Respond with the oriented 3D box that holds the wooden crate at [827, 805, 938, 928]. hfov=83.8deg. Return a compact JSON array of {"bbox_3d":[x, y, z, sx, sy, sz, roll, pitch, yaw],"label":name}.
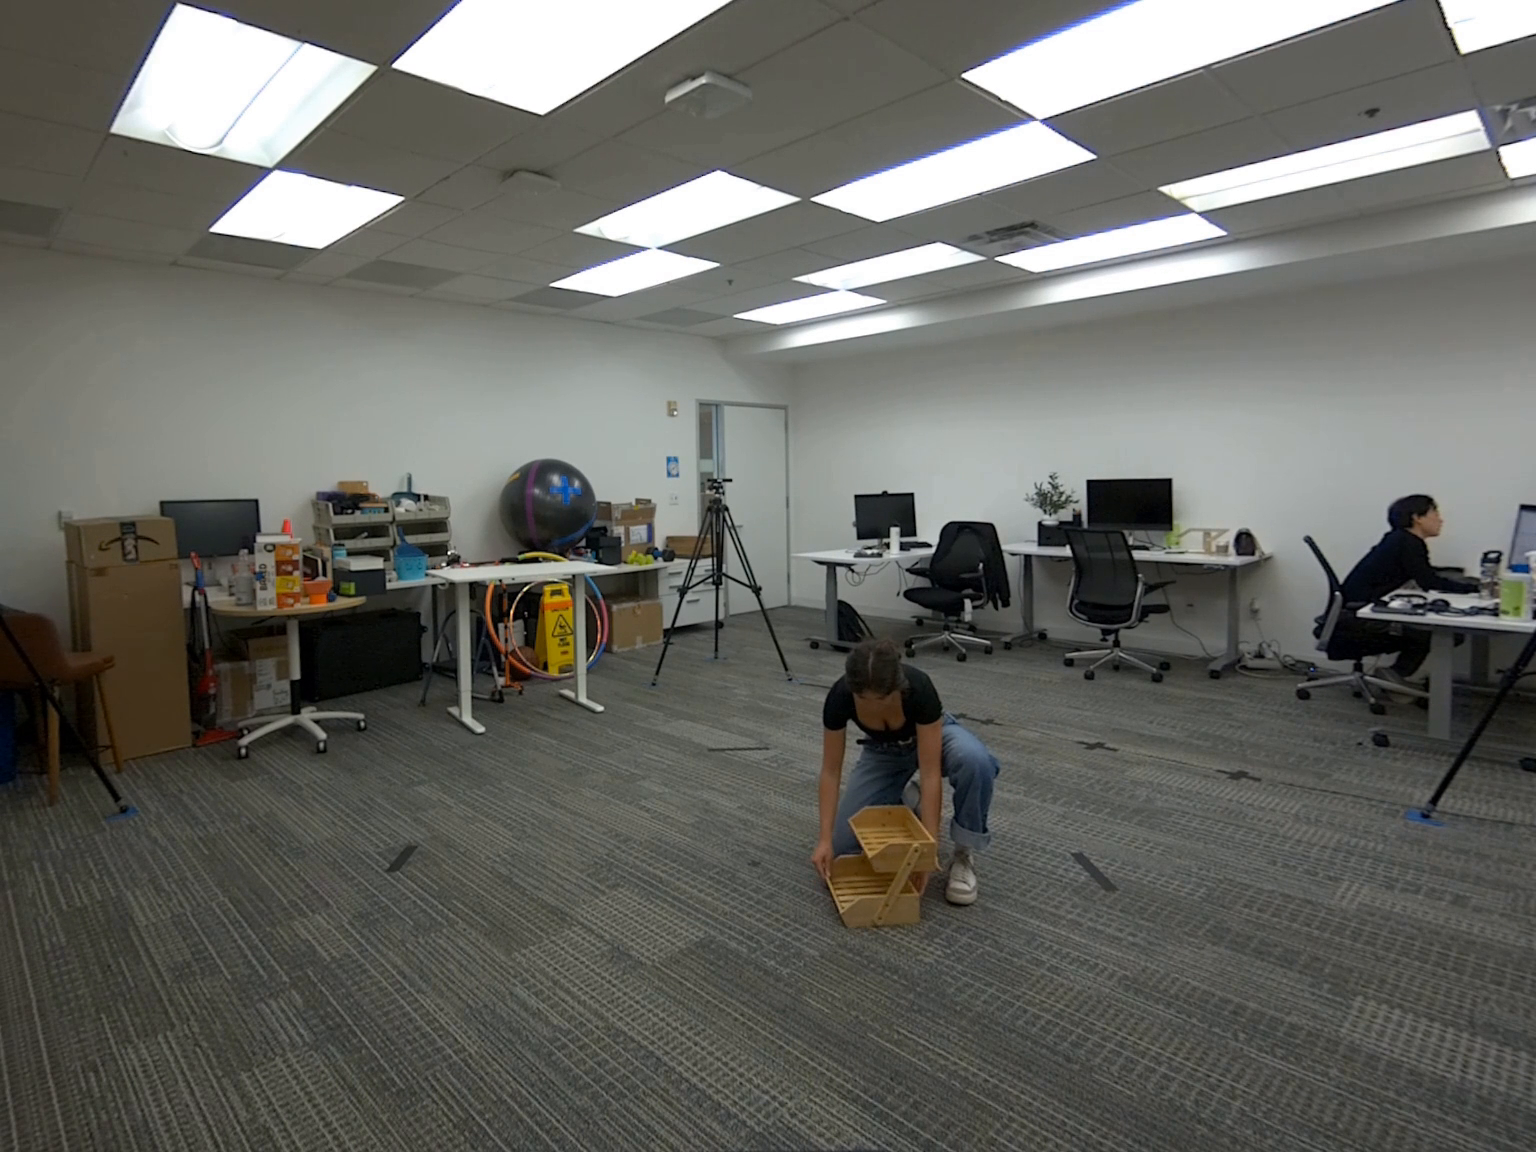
[{"bbox_3d":[0.351,0.938,2.802,0.300,0.272,0.328,-2,6,-7],"label":"wooden crate"}]
